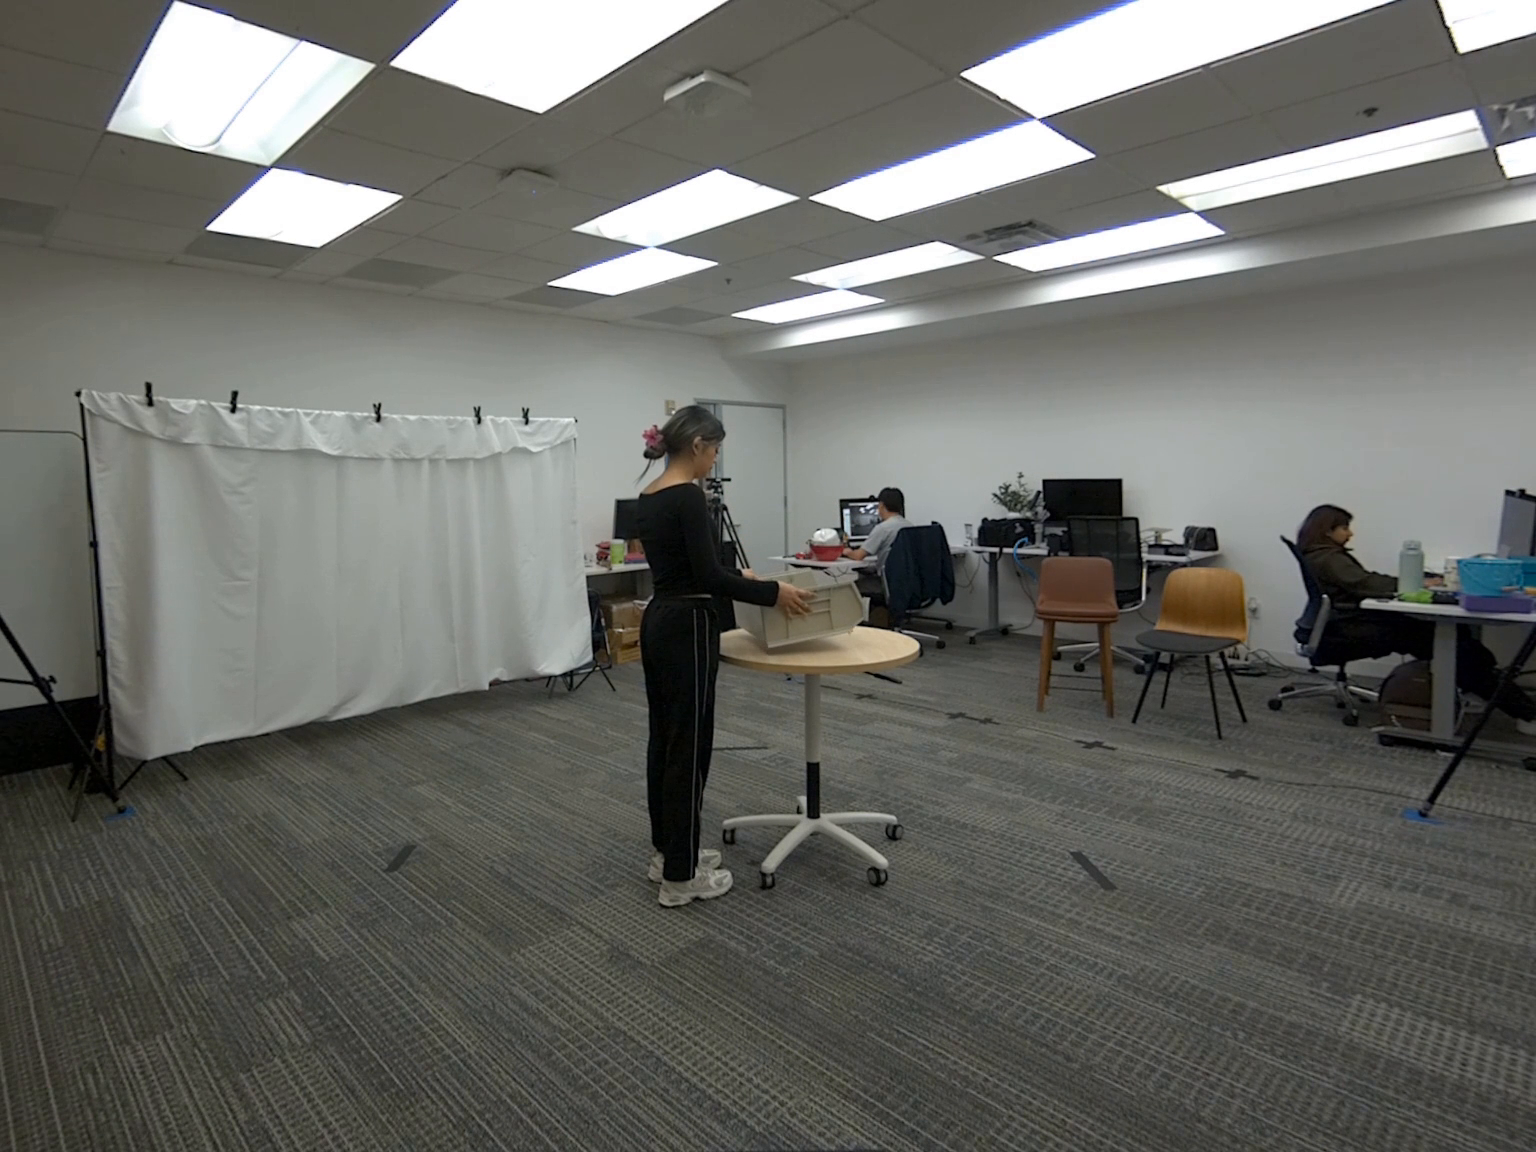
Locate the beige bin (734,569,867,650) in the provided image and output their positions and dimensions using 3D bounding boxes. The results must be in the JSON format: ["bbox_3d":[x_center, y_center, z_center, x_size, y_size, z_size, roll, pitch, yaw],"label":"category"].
[{"bbox_3d":[0.101,0.103,3.115,0.373,0.187,0.431,-11,9,-15],"label":"beige bin"}]
